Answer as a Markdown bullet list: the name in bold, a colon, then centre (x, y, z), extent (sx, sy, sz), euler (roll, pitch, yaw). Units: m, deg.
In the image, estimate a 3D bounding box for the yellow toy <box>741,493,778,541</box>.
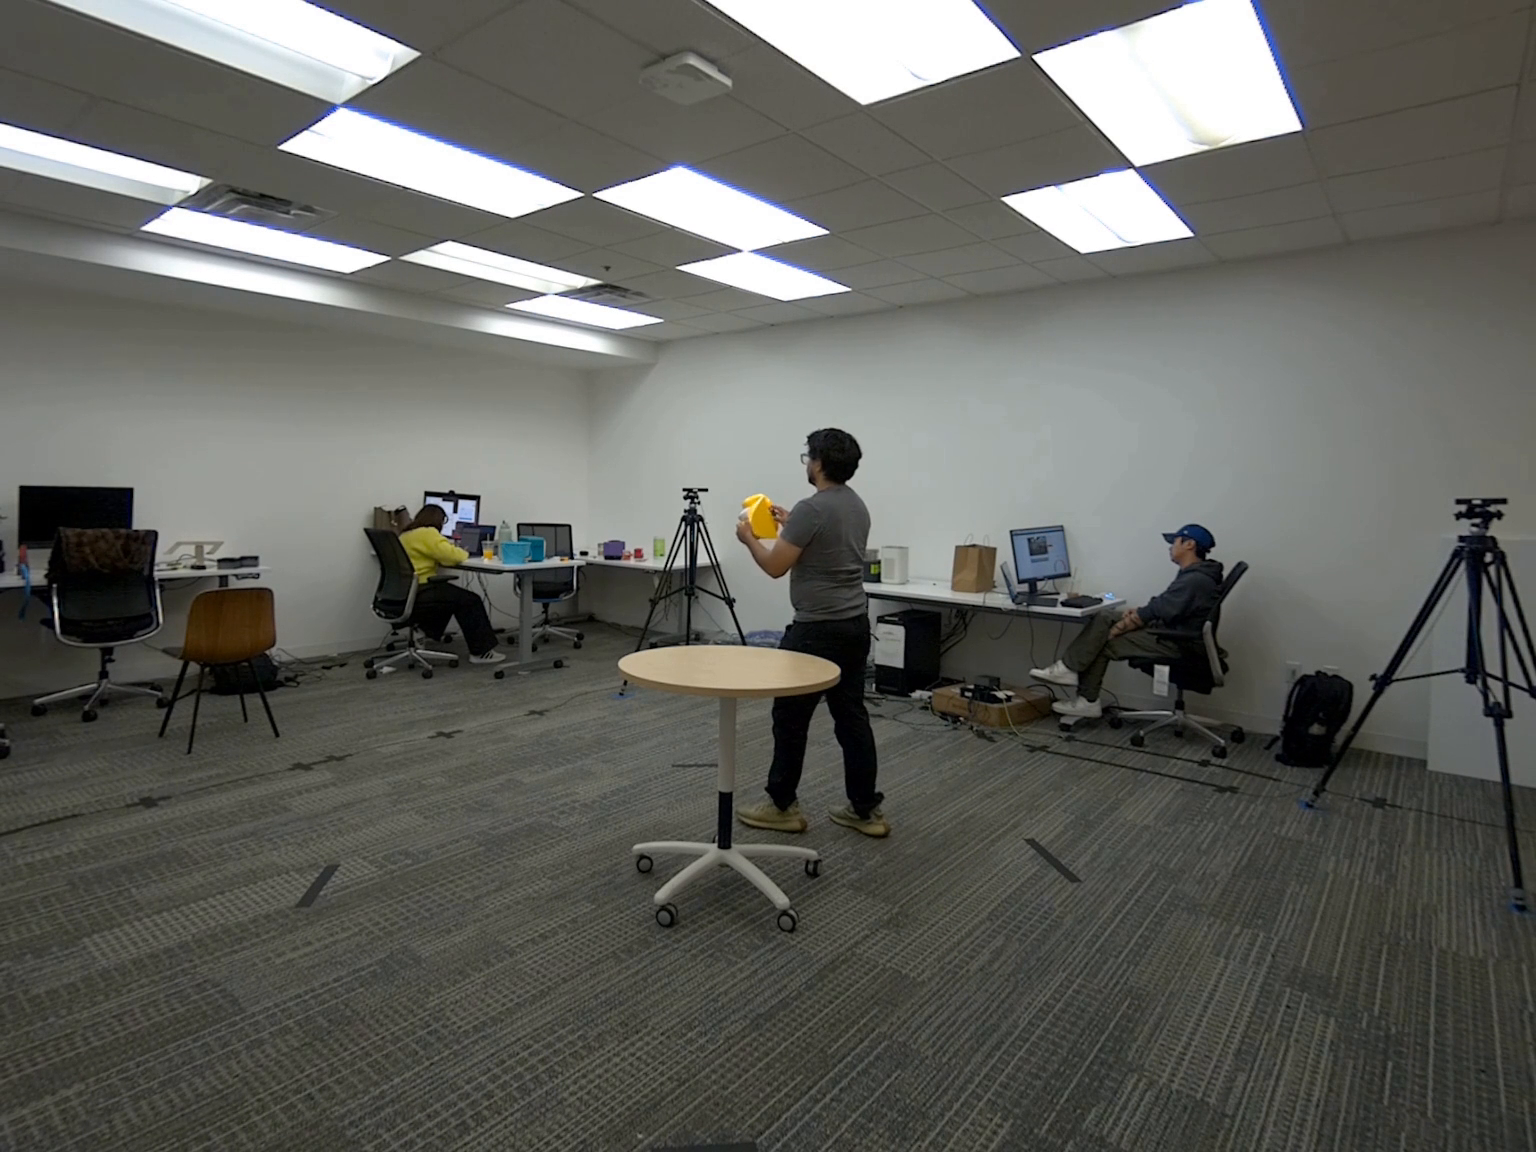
- **yellow toy**: centre (-0.088, -0.235, 3.778), extent (0.198, 0.201, 0.229), euler (-10, 16, 35)
